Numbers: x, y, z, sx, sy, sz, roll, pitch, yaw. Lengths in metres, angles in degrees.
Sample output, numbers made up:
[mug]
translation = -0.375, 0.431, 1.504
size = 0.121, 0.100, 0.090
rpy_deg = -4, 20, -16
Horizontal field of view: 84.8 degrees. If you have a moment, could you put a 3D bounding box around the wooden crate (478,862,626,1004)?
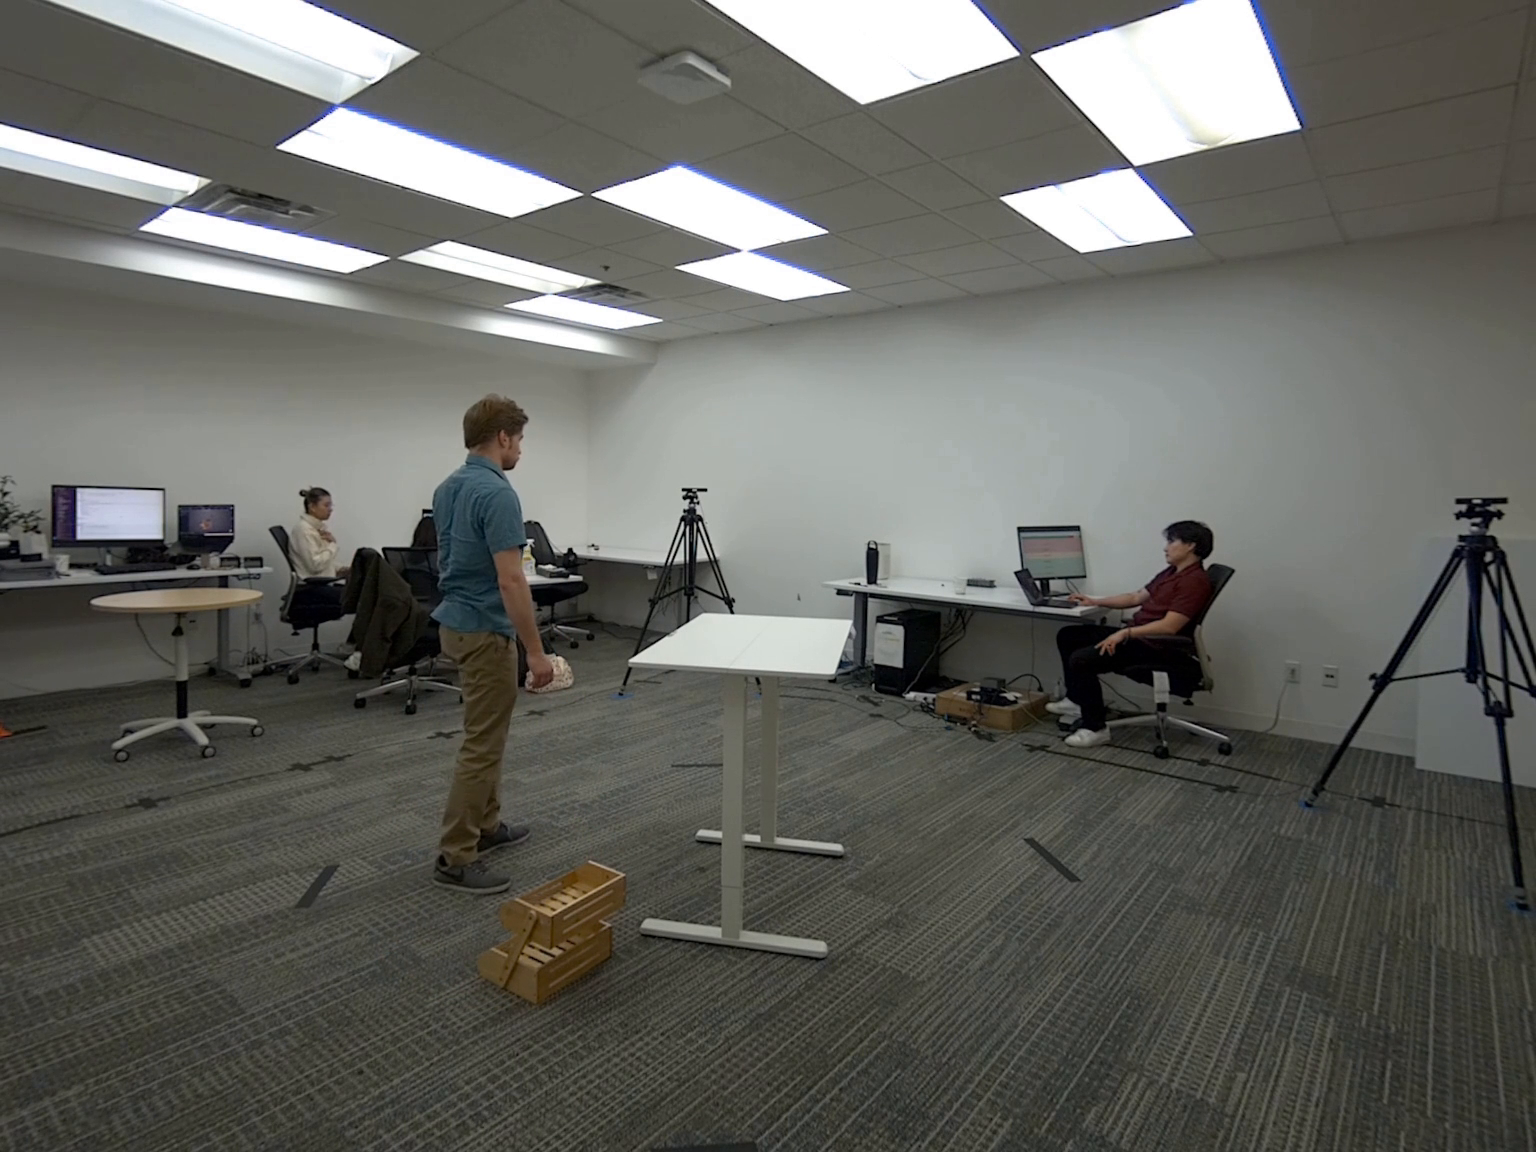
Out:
[wooden crate]
translation = -0.631, 0.994, 2.448
size = 0.311, 0.272, 0.315
rpy_deg = 5, 6, 33
